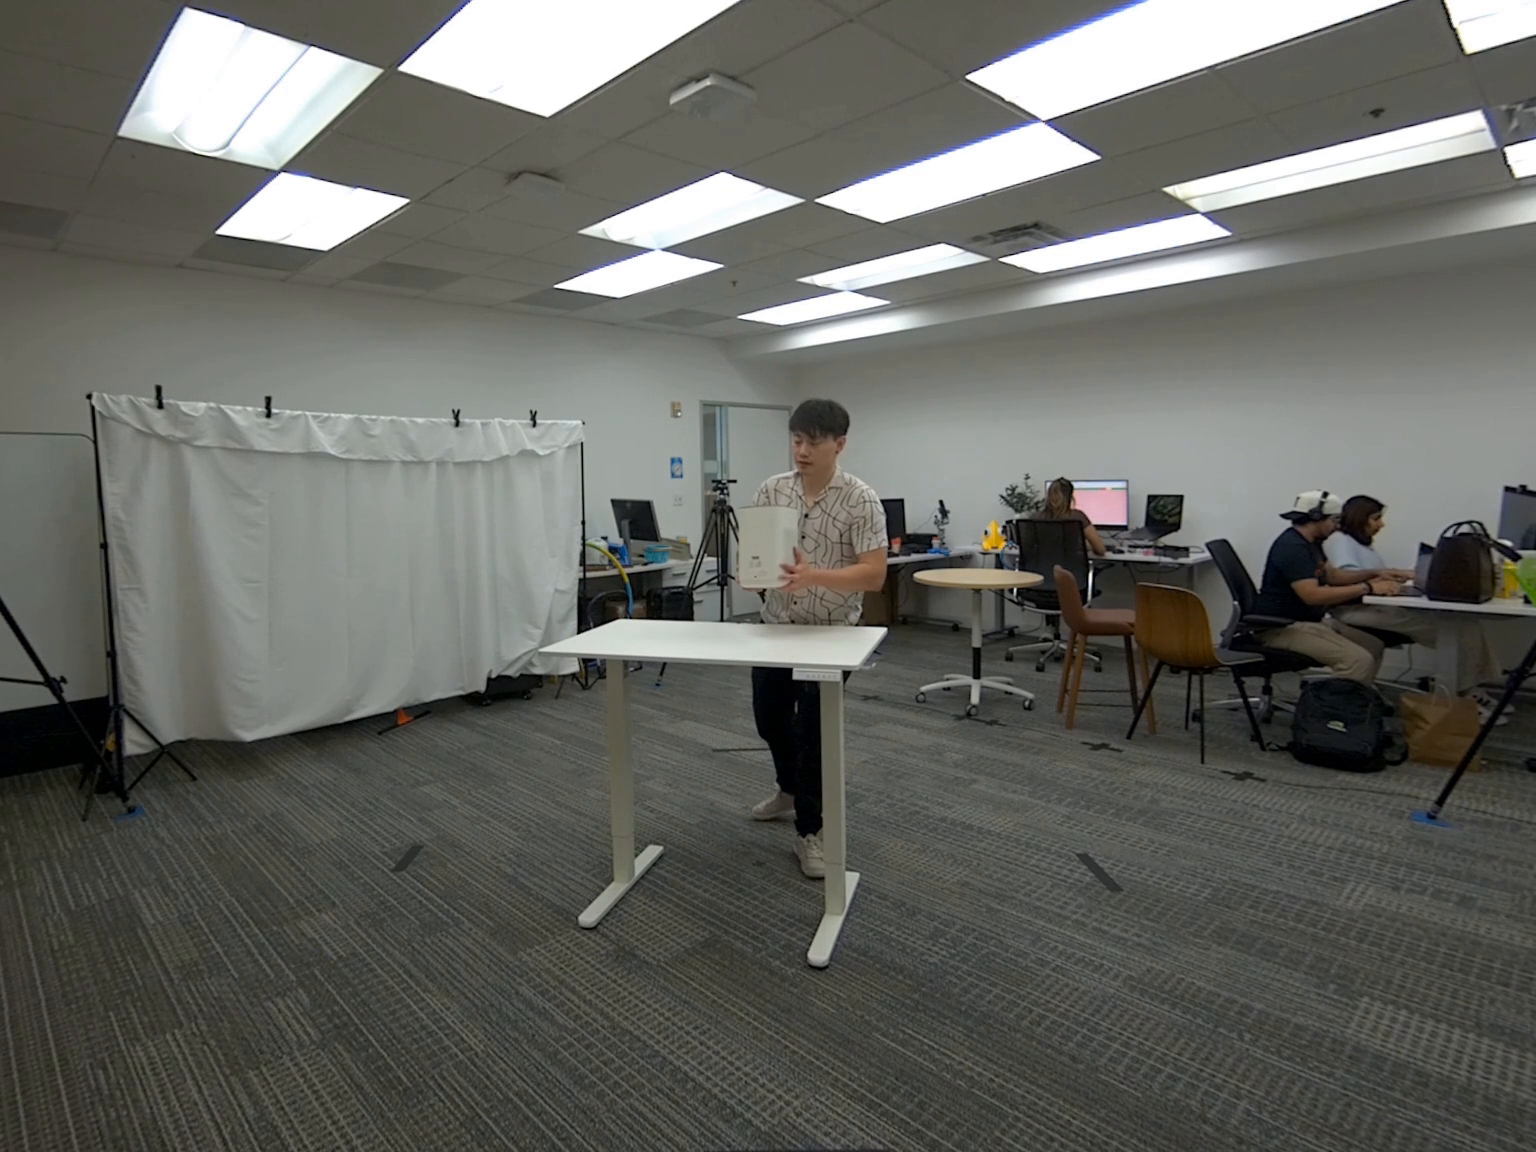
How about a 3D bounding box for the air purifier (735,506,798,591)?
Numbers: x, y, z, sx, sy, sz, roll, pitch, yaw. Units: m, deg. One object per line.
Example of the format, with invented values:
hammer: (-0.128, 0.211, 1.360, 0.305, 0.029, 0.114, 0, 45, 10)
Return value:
air purifier: (-0.010, -0.088, 2.826, 0.175, 0.267, 0.167, -2, -5, 29)
